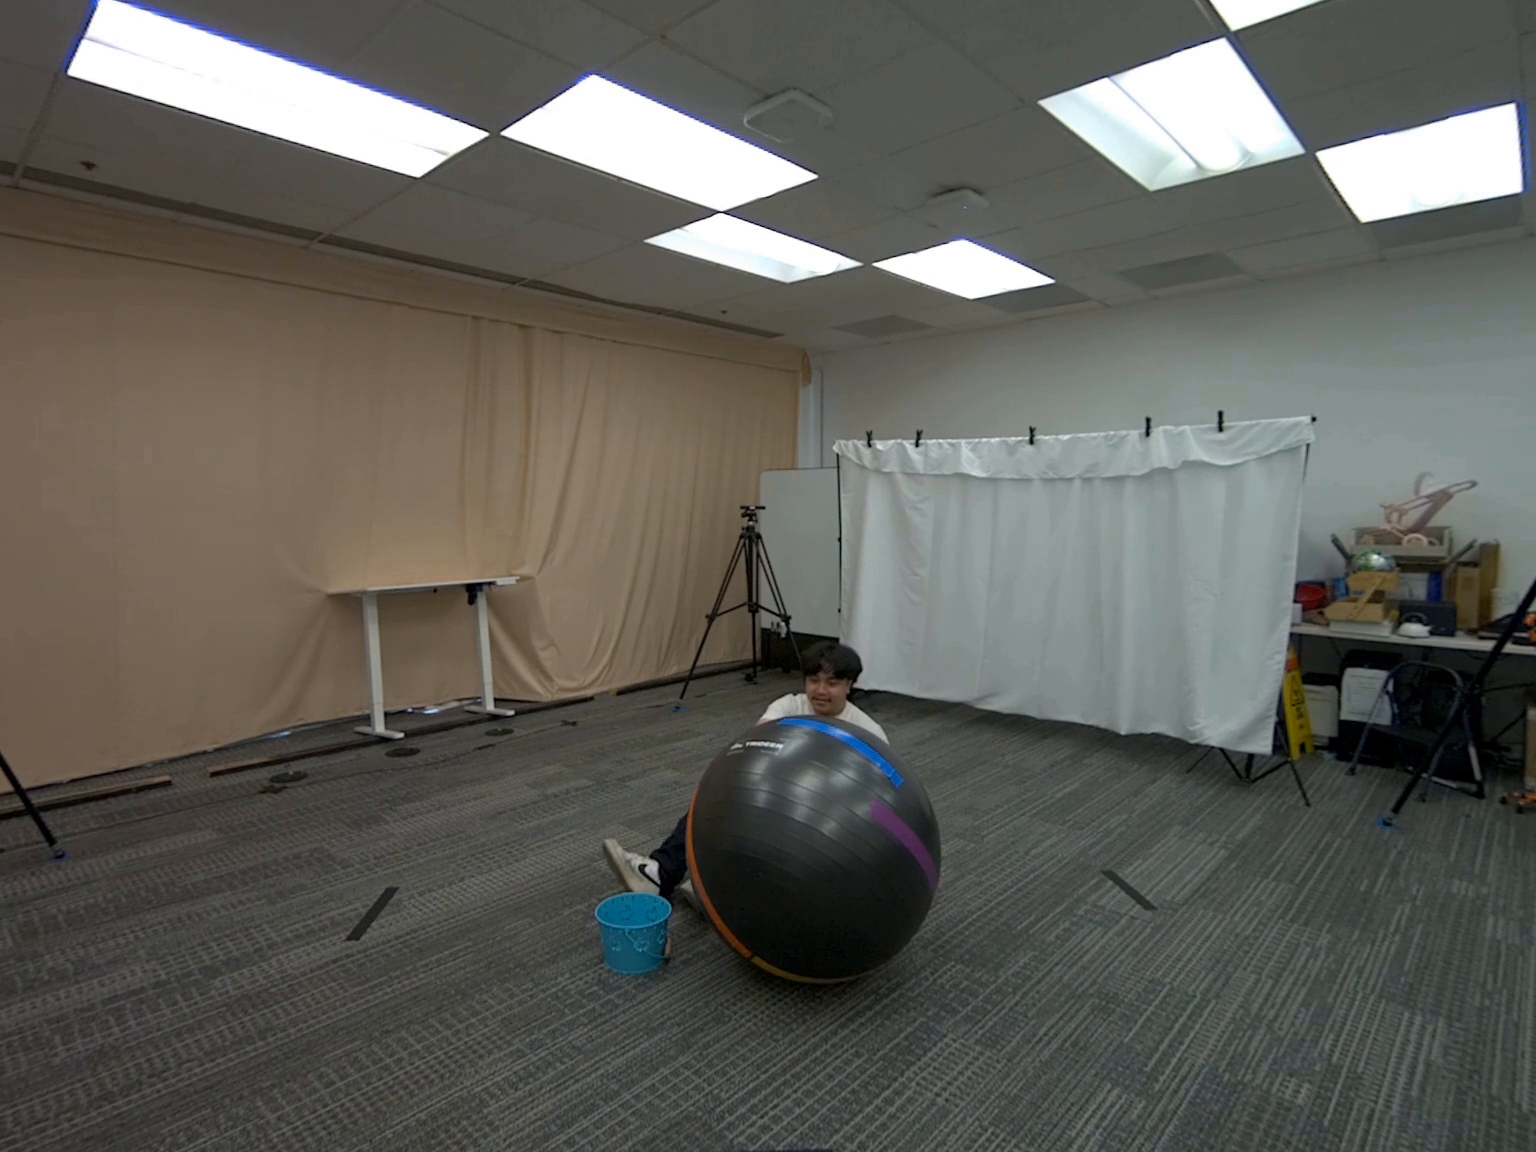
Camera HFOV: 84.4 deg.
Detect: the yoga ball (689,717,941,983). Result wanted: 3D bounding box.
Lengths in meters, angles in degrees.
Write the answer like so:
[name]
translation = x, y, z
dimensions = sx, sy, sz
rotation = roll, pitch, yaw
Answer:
[yoga ball]
translation = 0.133, 0.814, 2.536
dimensions = 0.757, 0.756, 0.760
rotation = 0, 4, -2
